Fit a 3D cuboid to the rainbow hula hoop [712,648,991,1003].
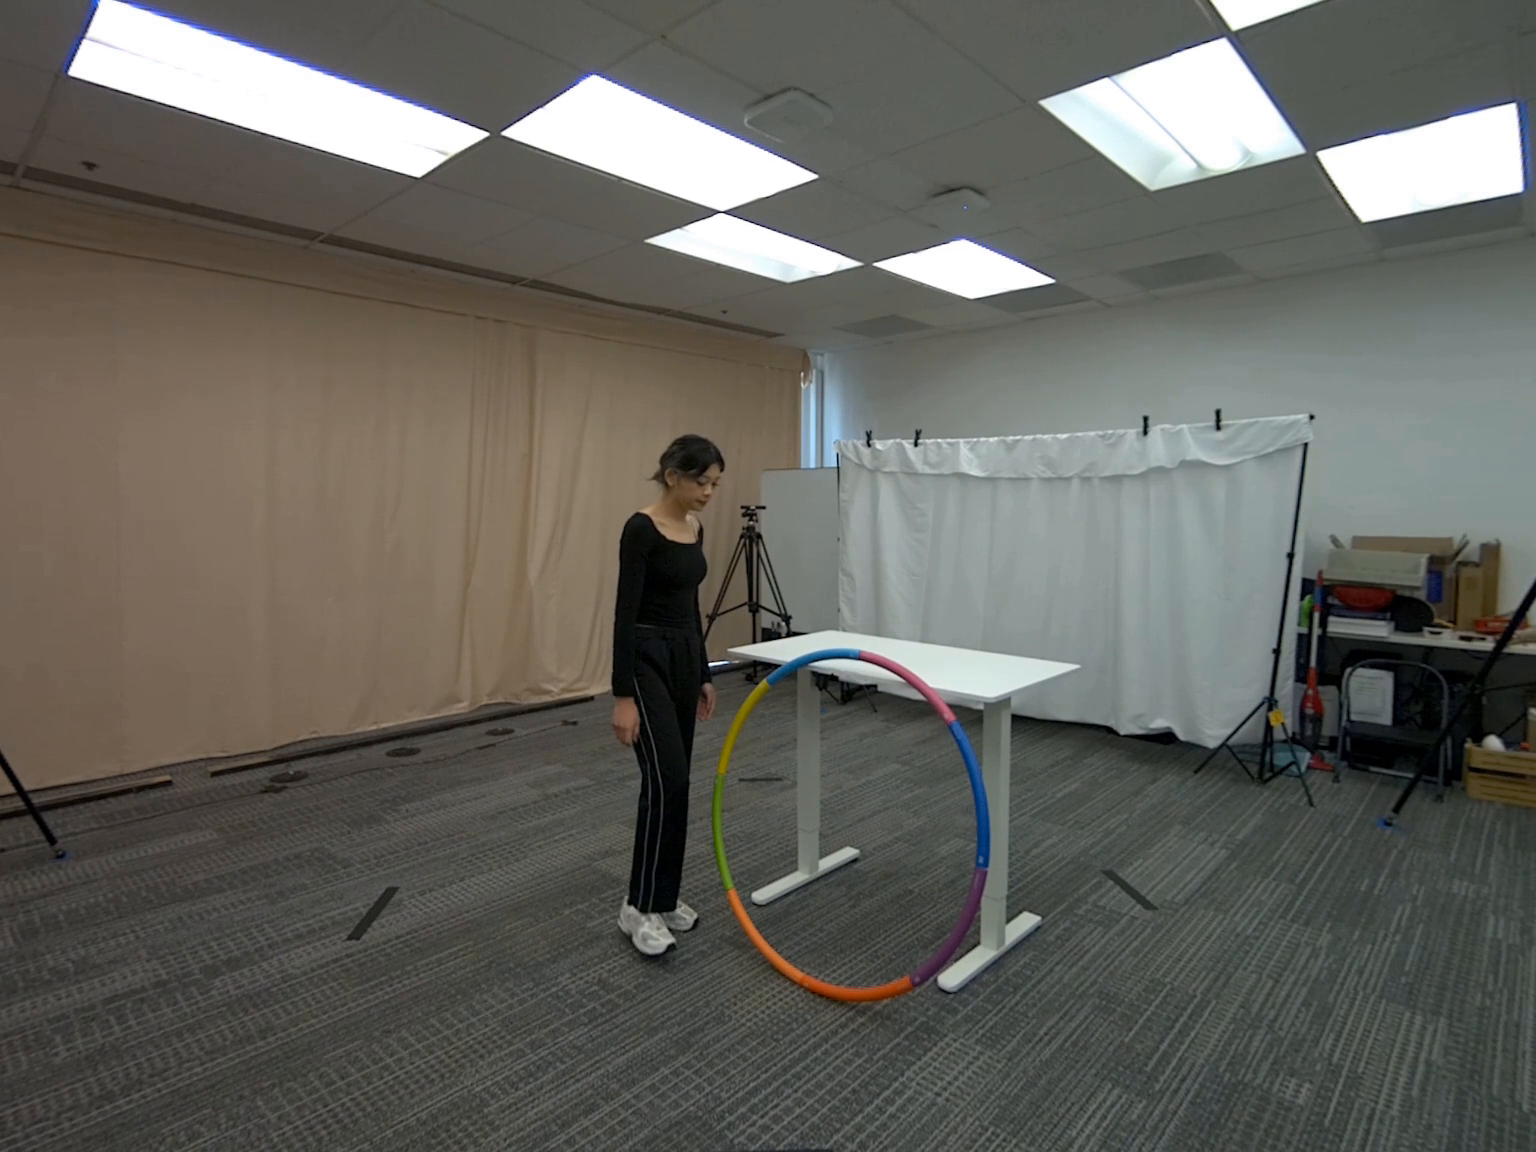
[{"bbox_3d":[0.198,0.712,2.490,1.011,0.982,0.034,3,-10,42],"label":"rainbow hula hoop"}]
